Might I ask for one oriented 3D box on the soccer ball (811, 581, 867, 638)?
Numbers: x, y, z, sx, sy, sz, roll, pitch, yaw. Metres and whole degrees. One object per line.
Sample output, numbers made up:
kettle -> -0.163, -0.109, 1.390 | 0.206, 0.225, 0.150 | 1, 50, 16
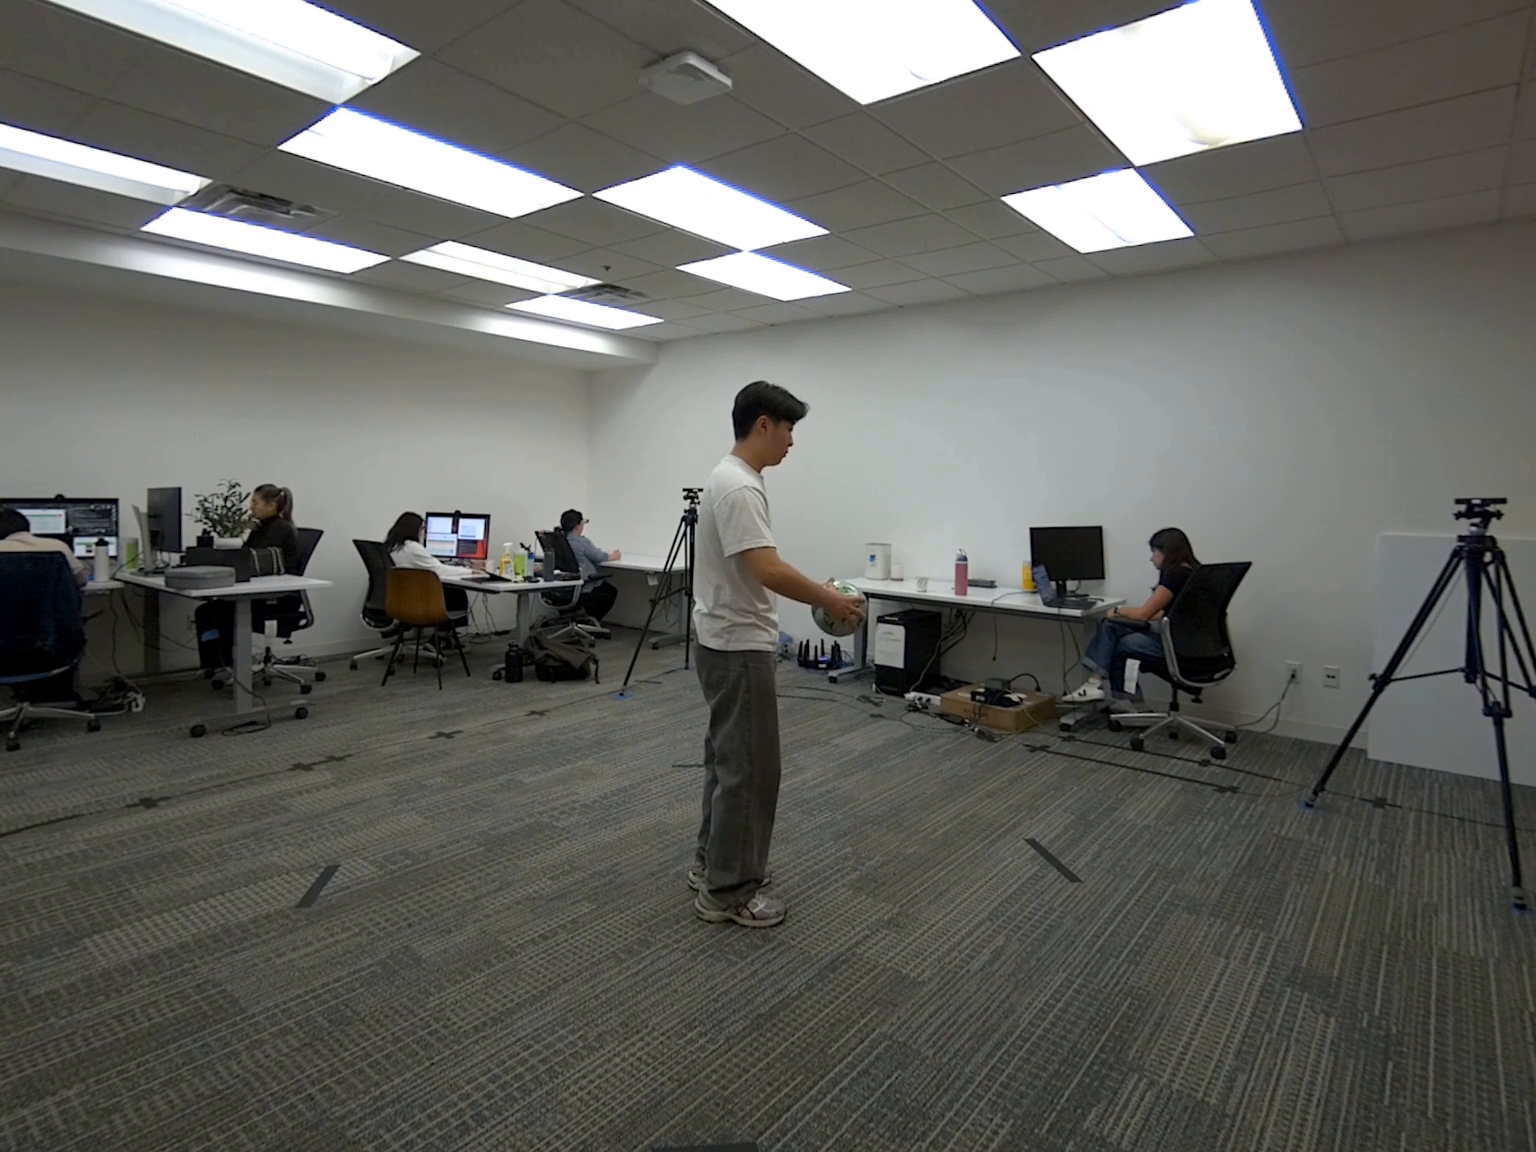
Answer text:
soccer ball -> 0.211, 0.119, 2.837 | 0.187, 0.187, 0.188 | 1, 4, -2
